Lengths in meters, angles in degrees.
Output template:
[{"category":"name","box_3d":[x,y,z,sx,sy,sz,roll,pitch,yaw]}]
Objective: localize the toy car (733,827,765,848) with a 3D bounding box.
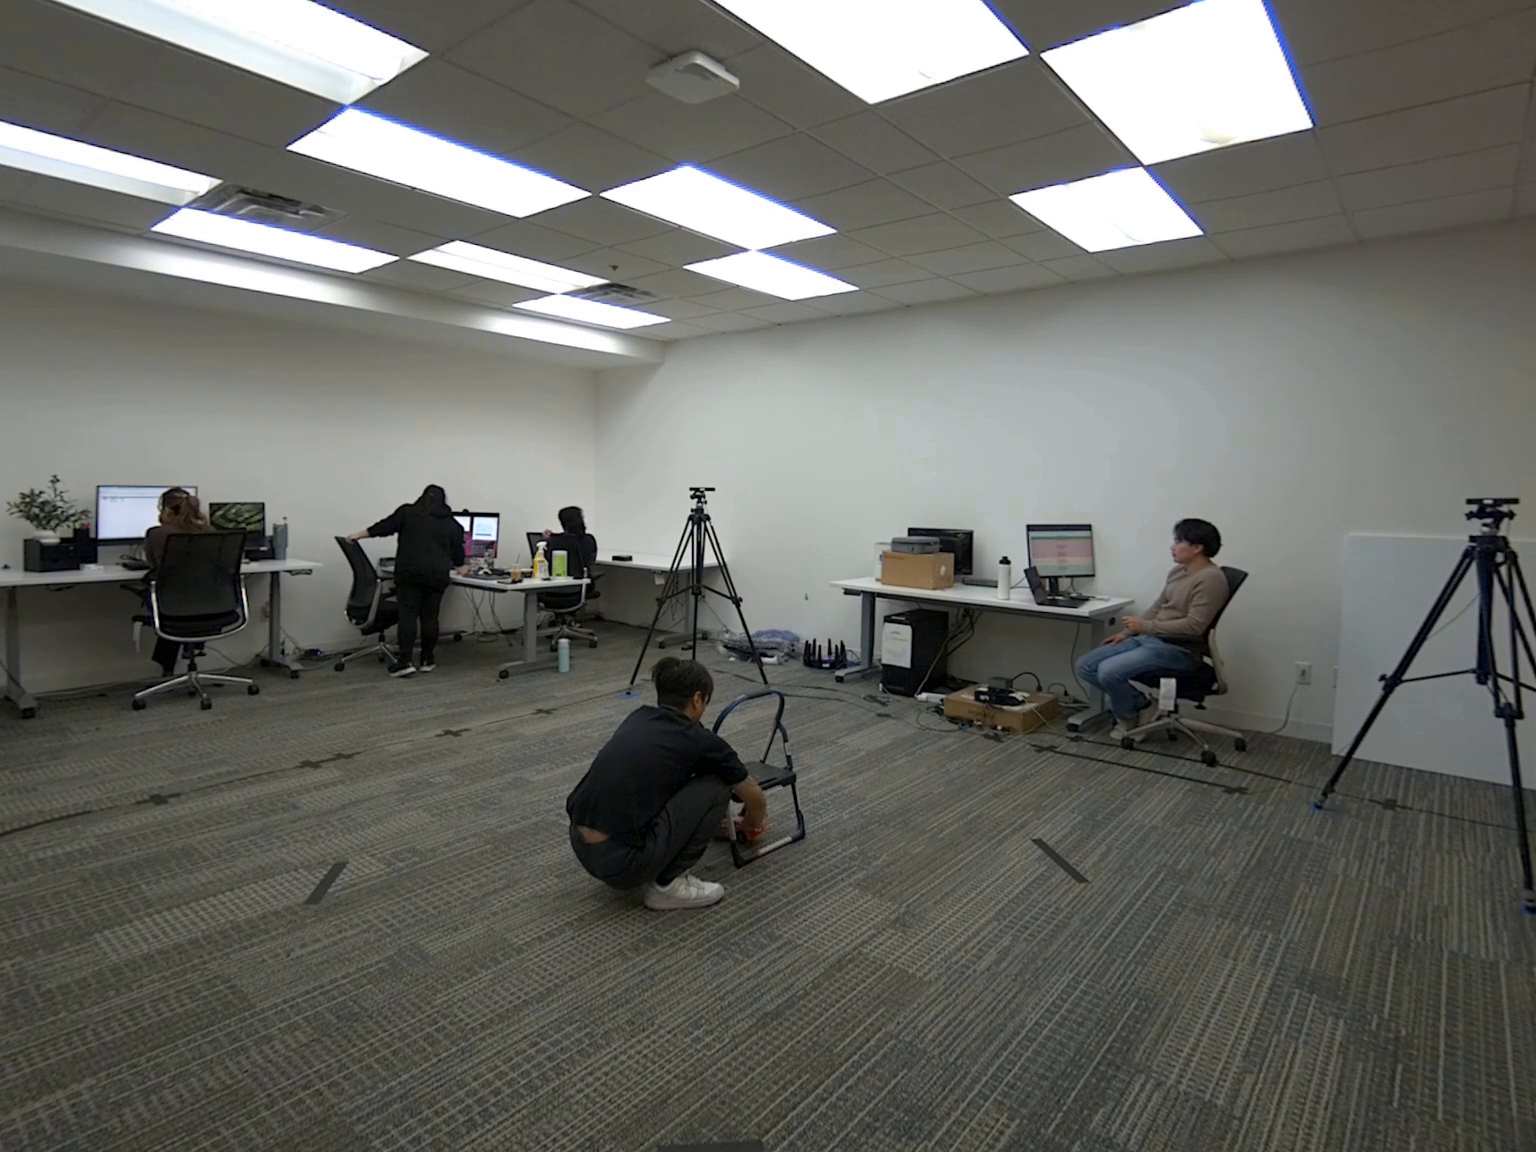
[{"category":"toy car","box_3d":[-0.155,1.006,3.377,0.259,0.084,0.127,-9,-4,23]}]
